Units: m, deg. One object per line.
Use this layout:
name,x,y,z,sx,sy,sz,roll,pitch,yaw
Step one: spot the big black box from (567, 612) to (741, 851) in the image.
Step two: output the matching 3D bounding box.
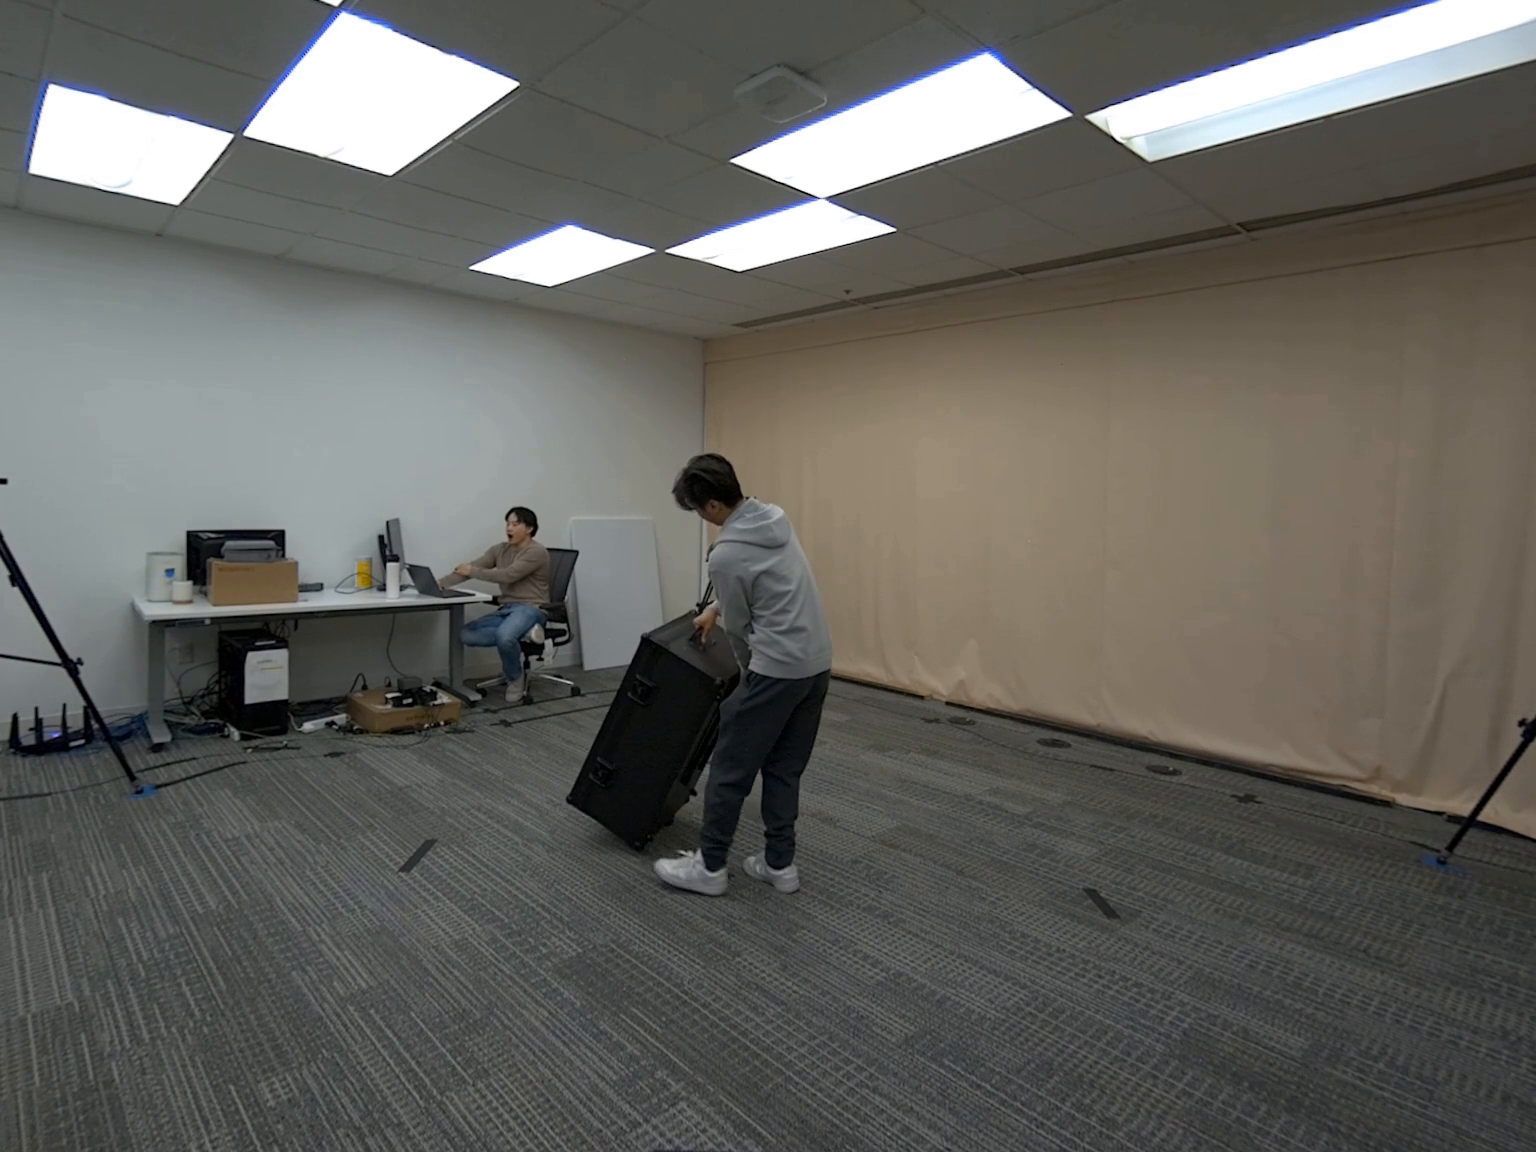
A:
big black box,-0.395,0.588,3.388,0.402,0.857,0.517,30,15,12
